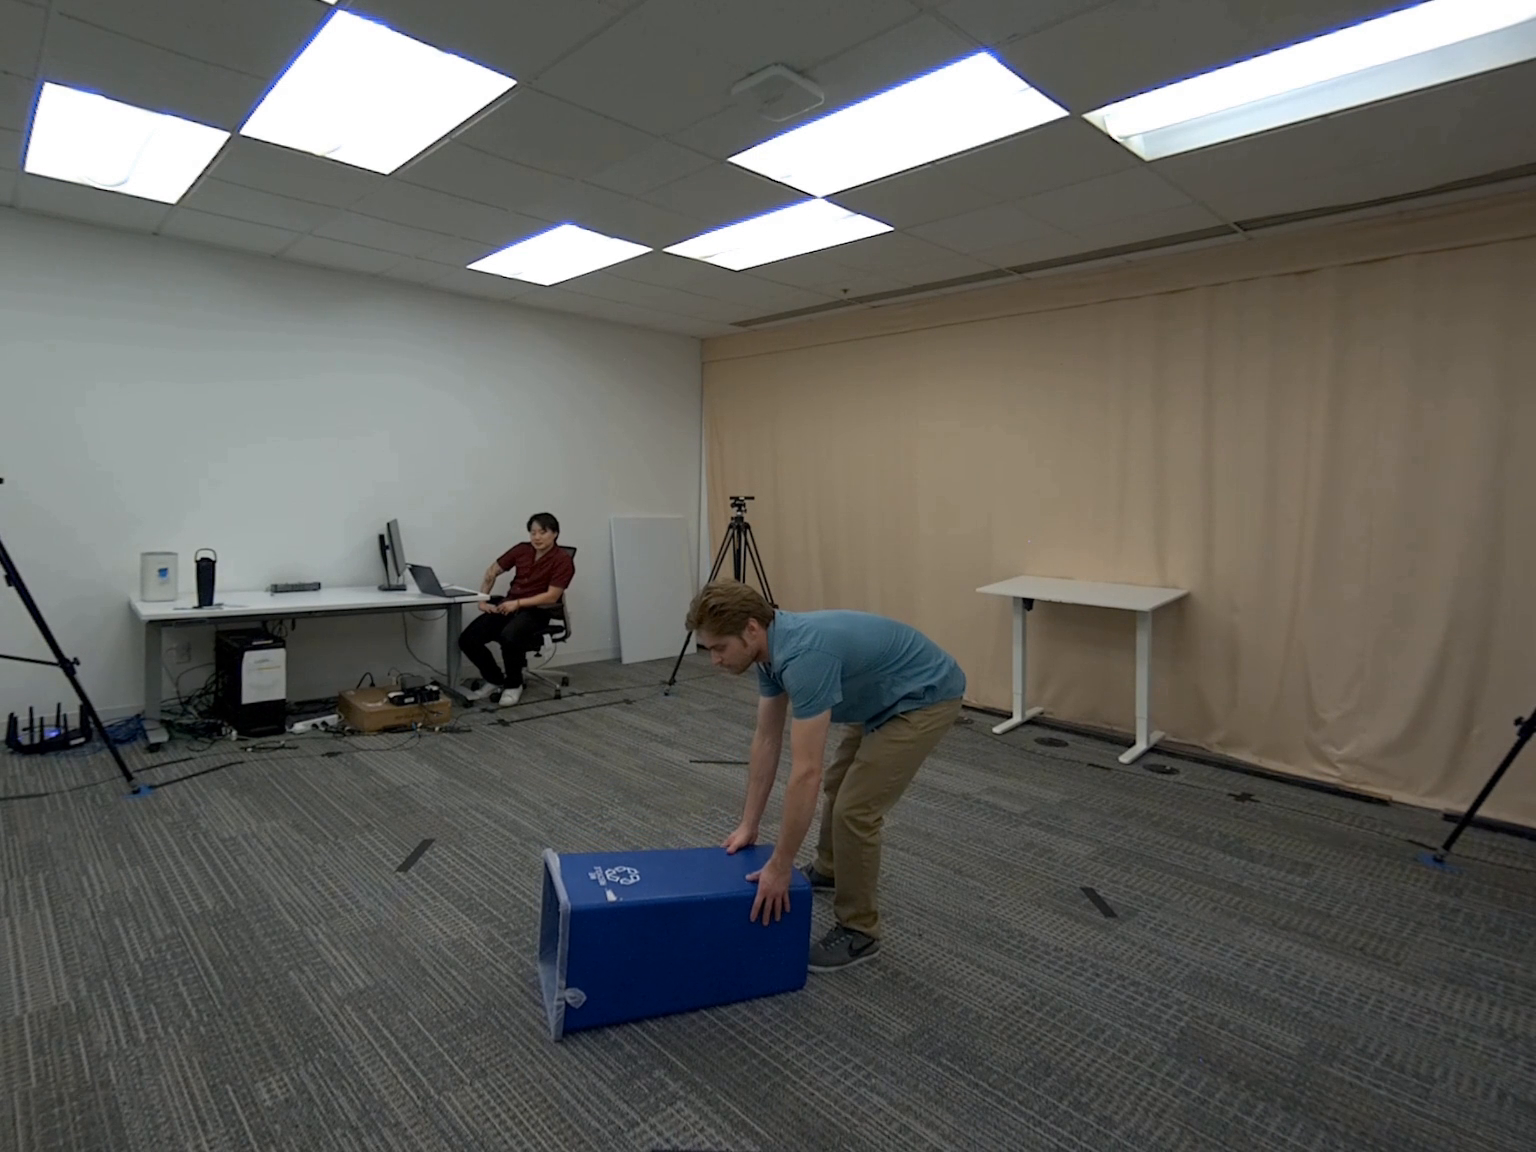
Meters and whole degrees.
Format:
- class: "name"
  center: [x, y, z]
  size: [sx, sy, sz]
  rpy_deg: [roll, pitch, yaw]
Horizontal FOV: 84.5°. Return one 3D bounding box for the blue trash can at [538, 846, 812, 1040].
- class: "blue trash can"
  center: [-0.274, 1.001, 2.396]
  size: [0.702, 0.377, 0.381]
  rpy_deg: [3, 3, -21]
